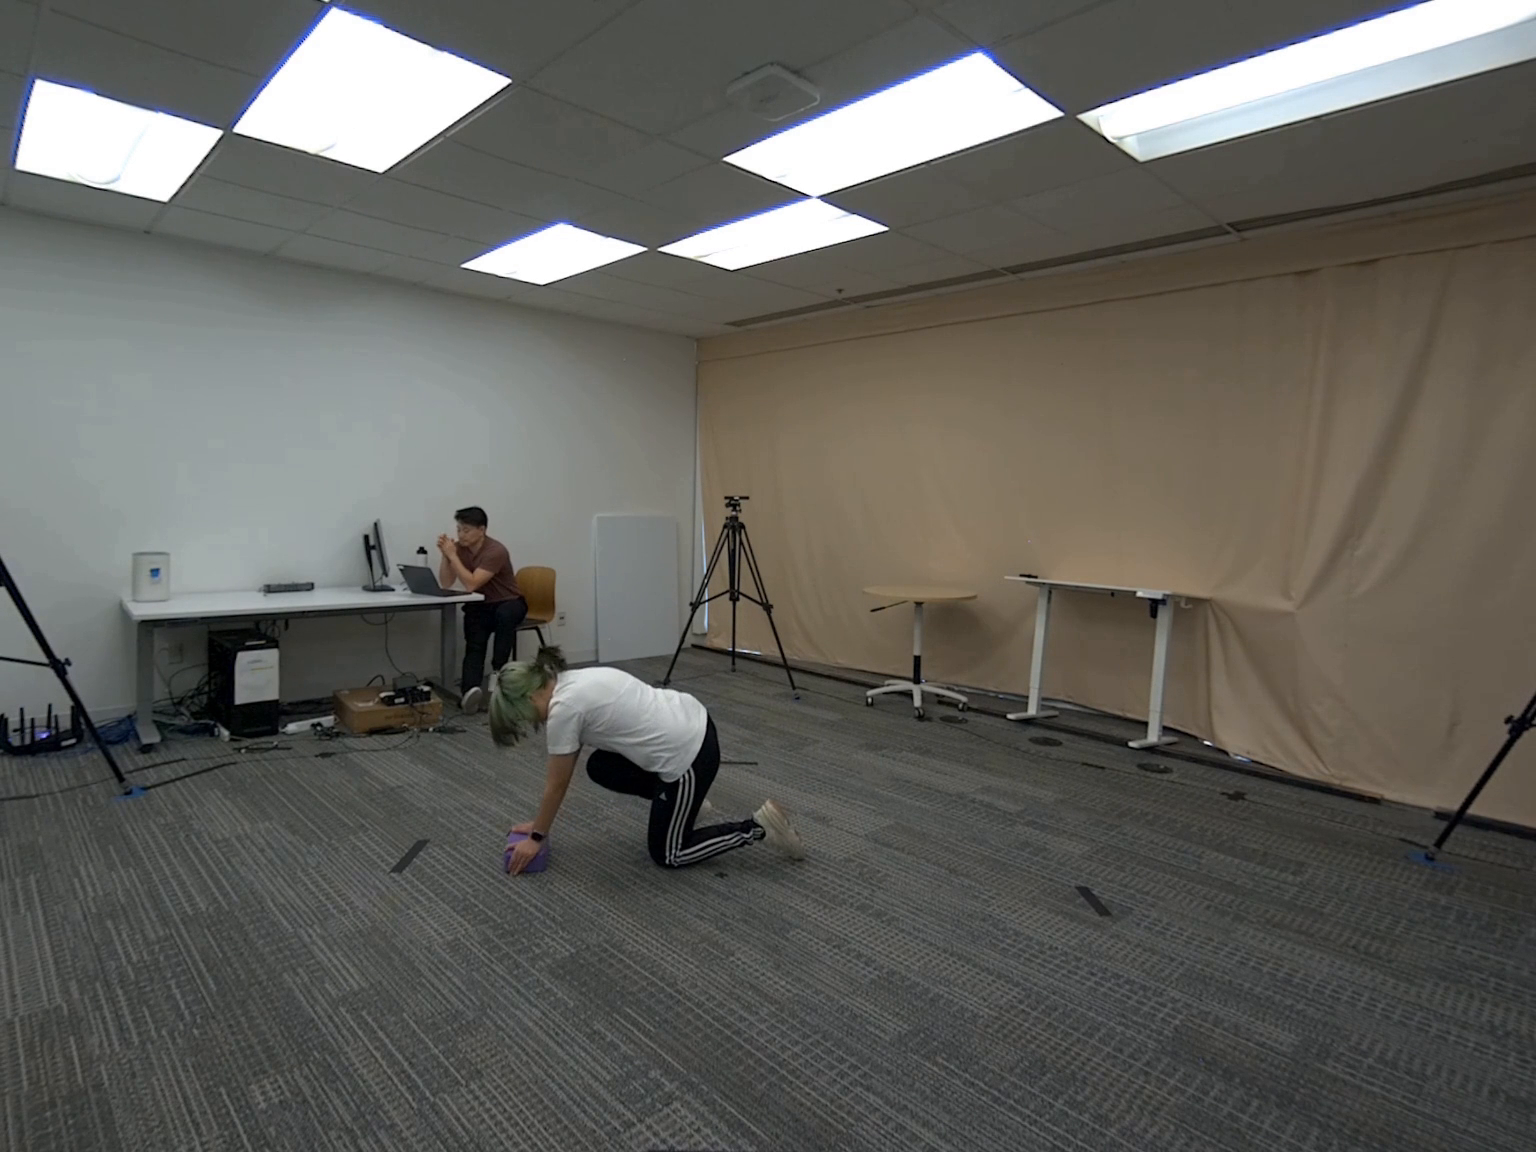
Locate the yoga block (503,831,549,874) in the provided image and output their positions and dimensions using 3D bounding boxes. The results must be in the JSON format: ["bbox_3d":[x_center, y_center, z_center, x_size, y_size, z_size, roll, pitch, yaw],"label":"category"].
[{"bbox_3d":[-0.916,1.036,3.199,0.148,0.076,0.232,0,7,-11],"label":"yoga block"}]
